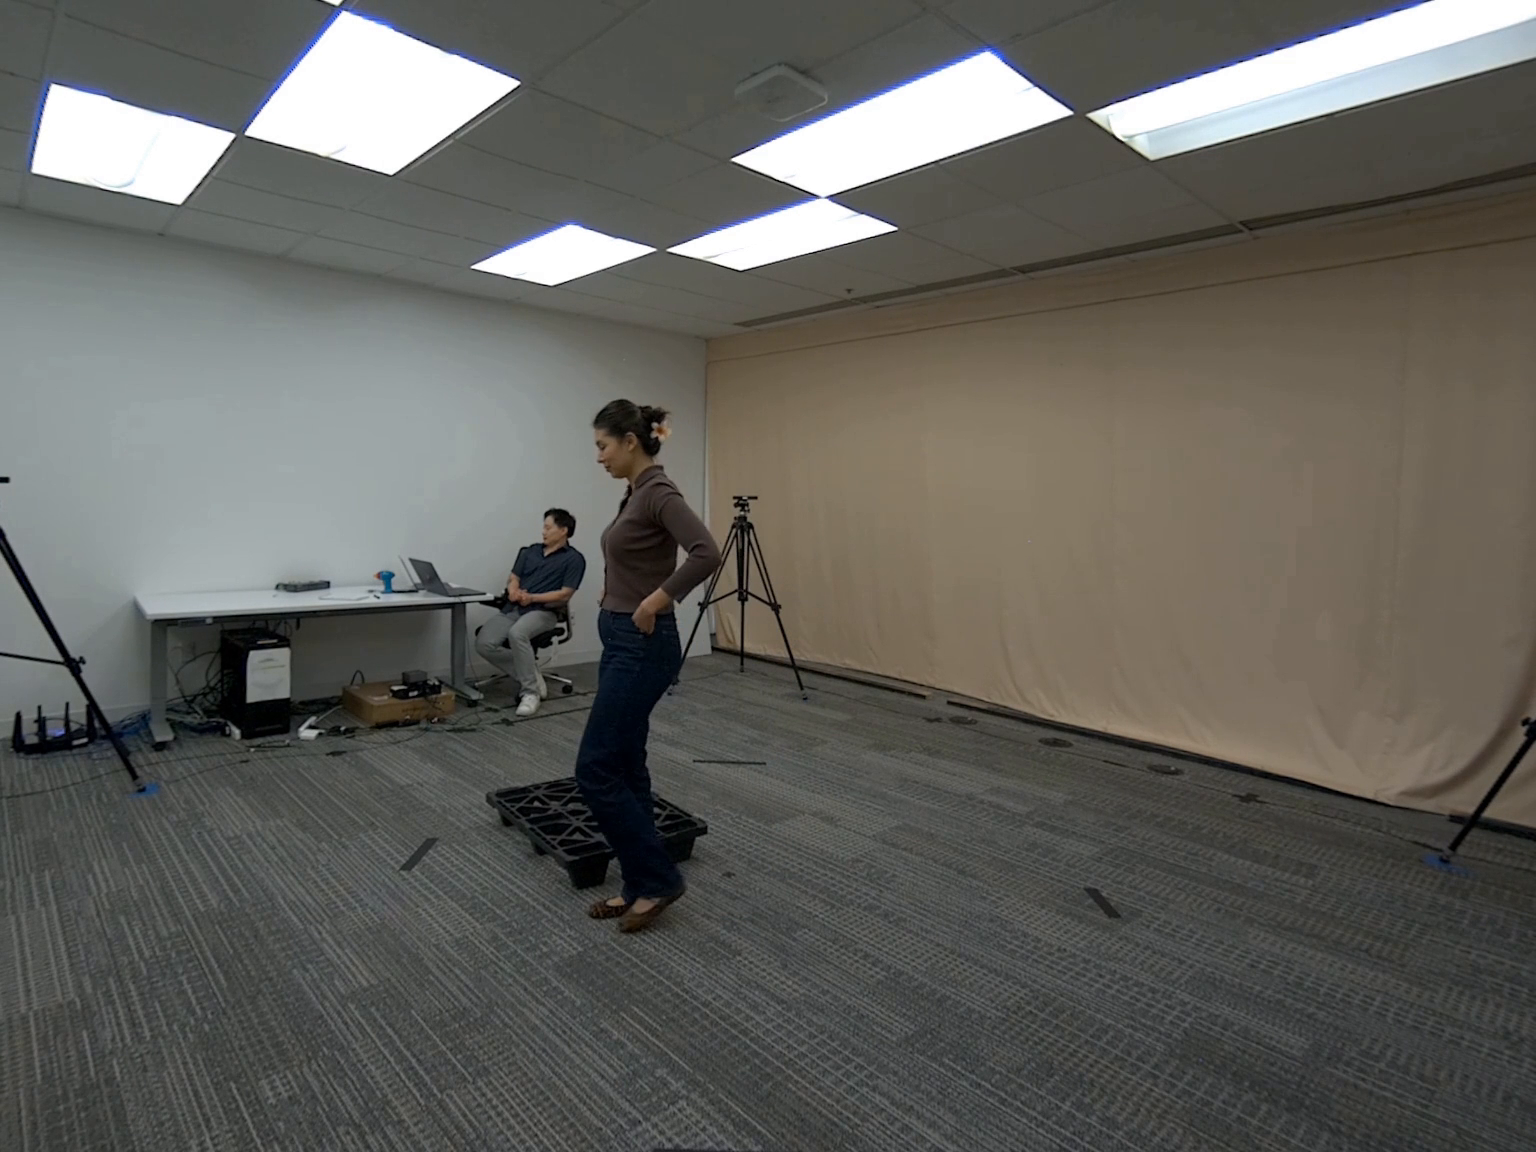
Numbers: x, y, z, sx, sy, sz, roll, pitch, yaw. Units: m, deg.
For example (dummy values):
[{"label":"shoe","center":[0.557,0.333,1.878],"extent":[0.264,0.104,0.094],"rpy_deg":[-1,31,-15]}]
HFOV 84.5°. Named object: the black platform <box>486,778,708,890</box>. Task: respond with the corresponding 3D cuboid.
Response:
[{"label":"black platform","center":[-0.712,0.999,3.387],"extent":[0.591,0.143,0.826],"rpy_deg":[-2,6,-37]}]
